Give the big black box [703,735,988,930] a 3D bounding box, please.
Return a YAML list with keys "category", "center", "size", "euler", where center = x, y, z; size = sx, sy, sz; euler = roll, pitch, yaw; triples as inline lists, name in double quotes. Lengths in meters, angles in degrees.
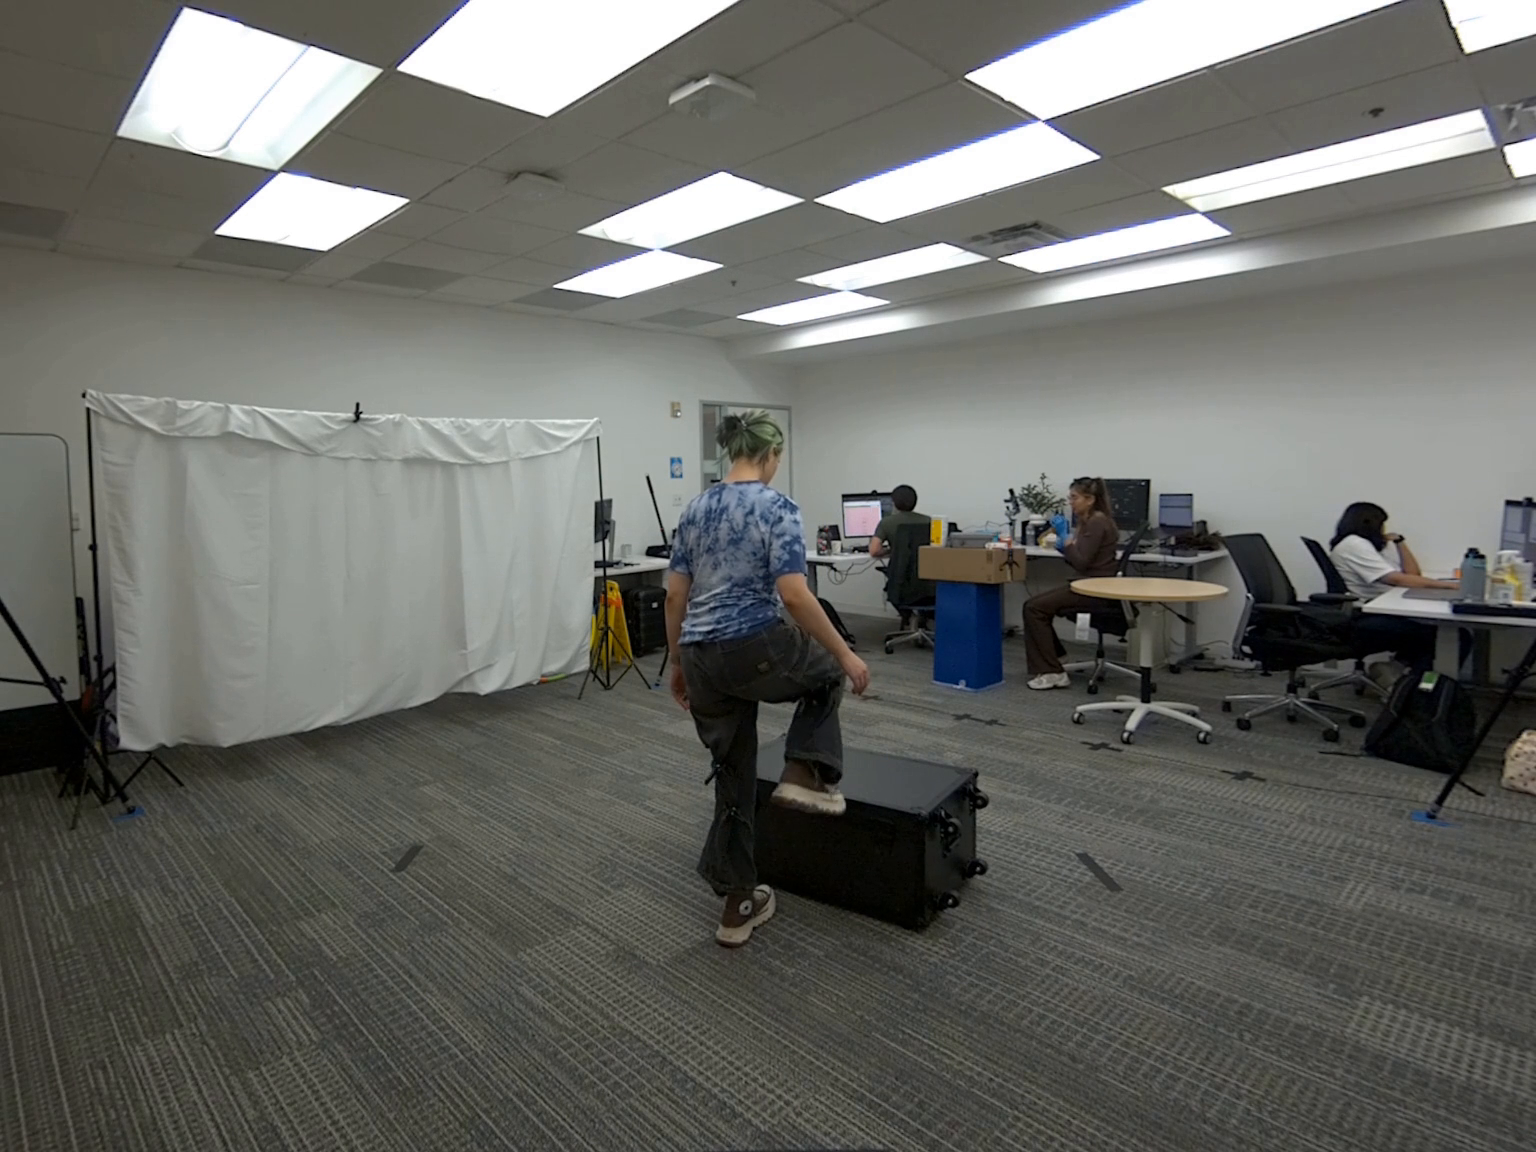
- category: "big black box"
  center: [0.301, 0.864, 2.984]
  size: [0.886, 0.395, 0.509]
  euler: [2, 6, 34]
